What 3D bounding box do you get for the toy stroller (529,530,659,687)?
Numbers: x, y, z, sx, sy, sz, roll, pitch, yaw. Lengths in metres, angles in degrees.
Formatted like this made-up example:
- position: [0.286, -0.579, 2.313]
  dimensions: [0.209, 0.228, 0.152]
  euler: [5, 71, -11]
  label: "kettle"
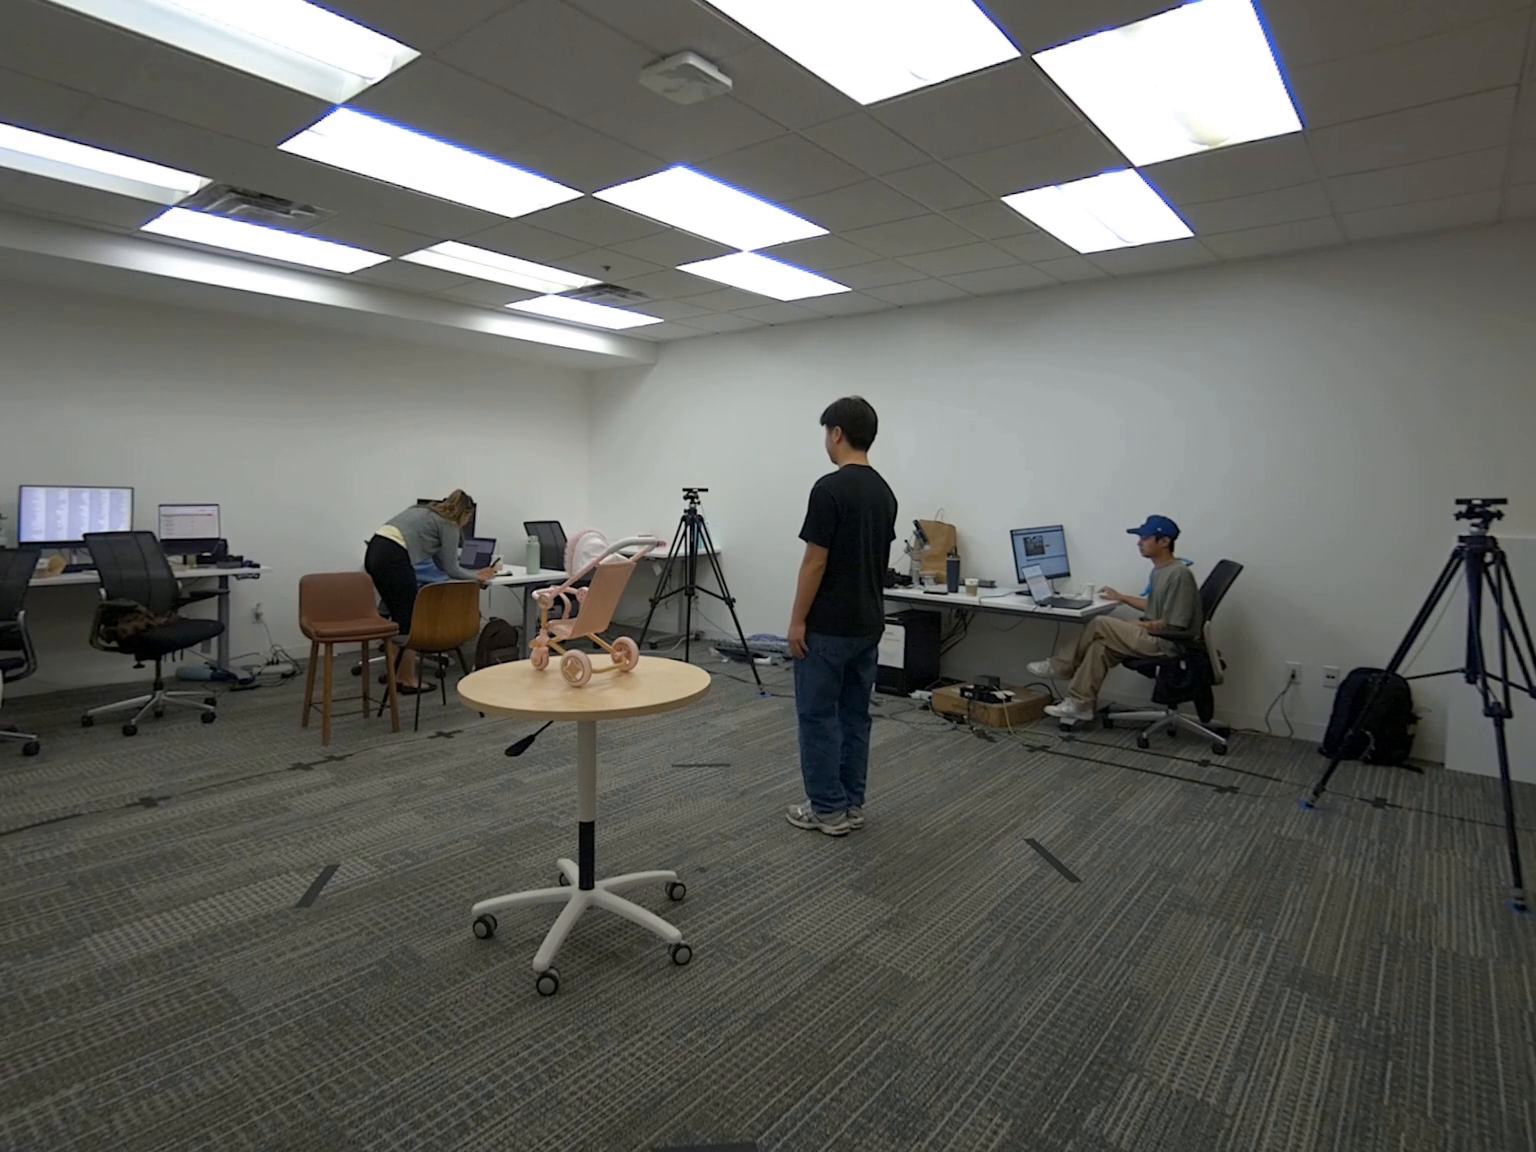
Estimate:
- position: [-0.584, 0.087, 2.647]
  dimensions: [0.353, 0.531, 0.274]
  euler: [19, 12, 29]
  label: "toy stroller"
